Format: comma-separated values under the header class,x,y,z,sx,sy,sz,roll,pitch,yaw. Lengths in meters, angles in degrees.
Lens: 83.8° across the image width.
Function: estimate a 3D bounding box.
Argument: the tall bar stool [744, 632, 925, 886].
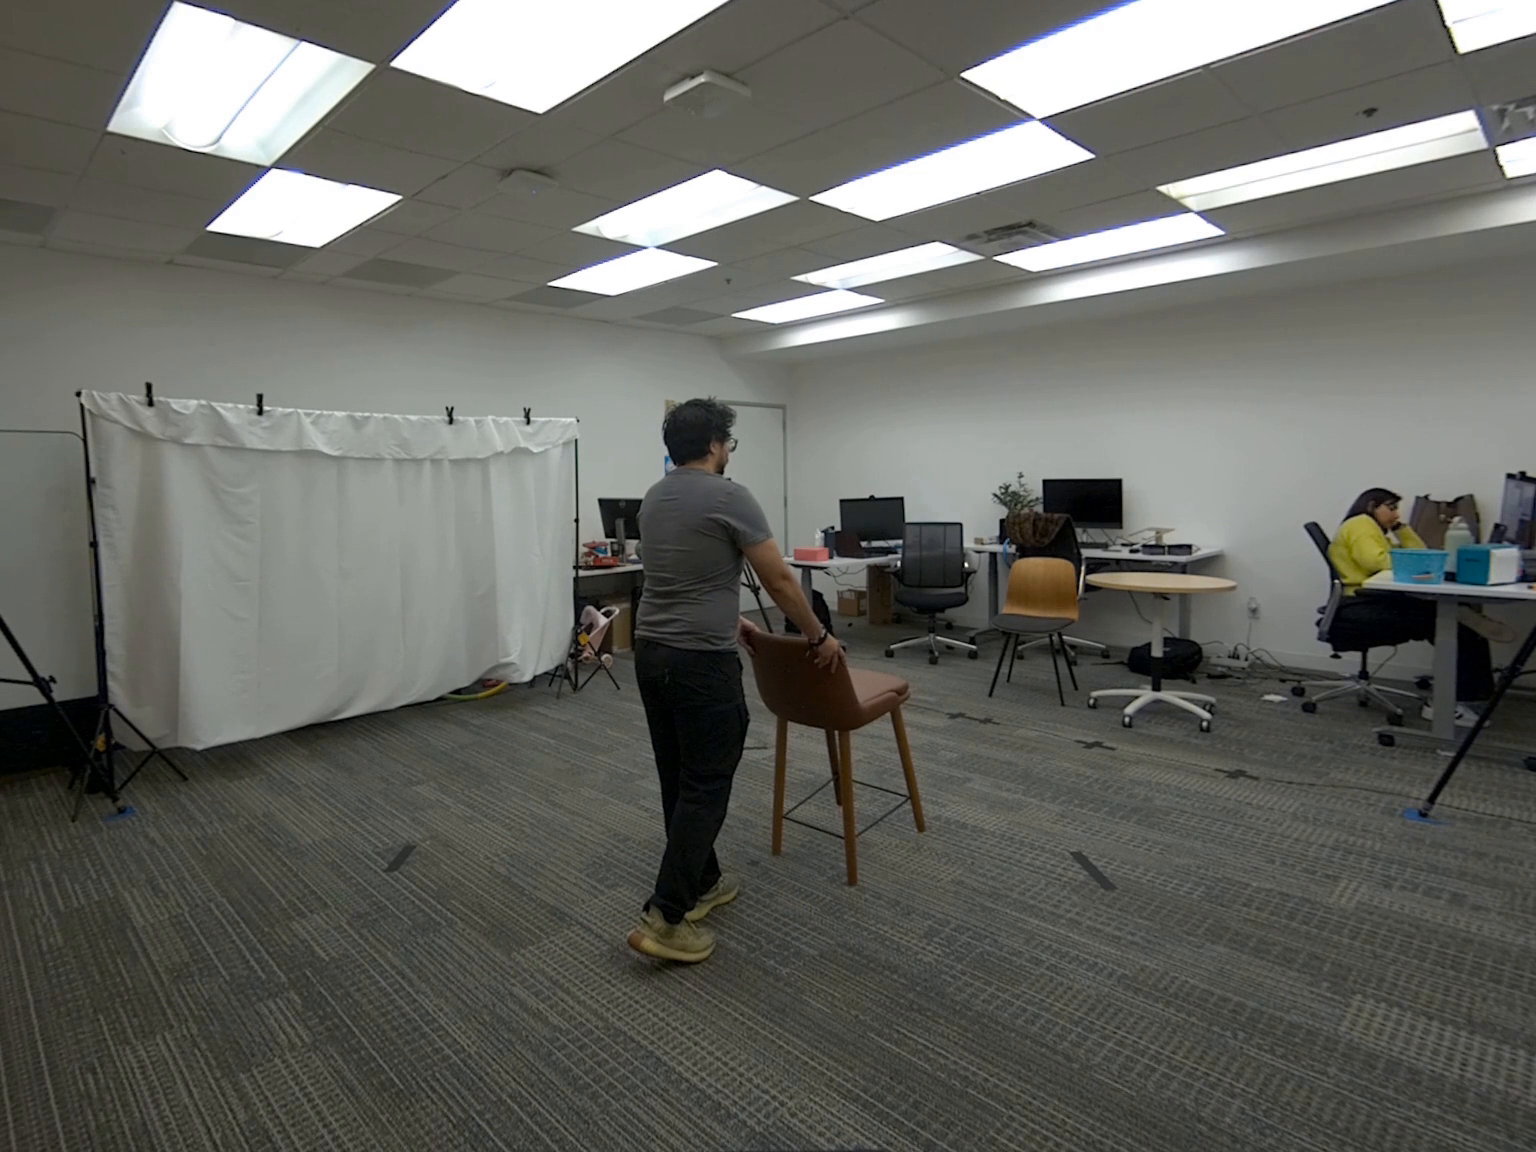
class,x,y,z,sx,sy,sz,roll,pitch,yaw
tall bar stool,0.247,0.573,3.125,0.470,0.879,0.459,4,16,44
